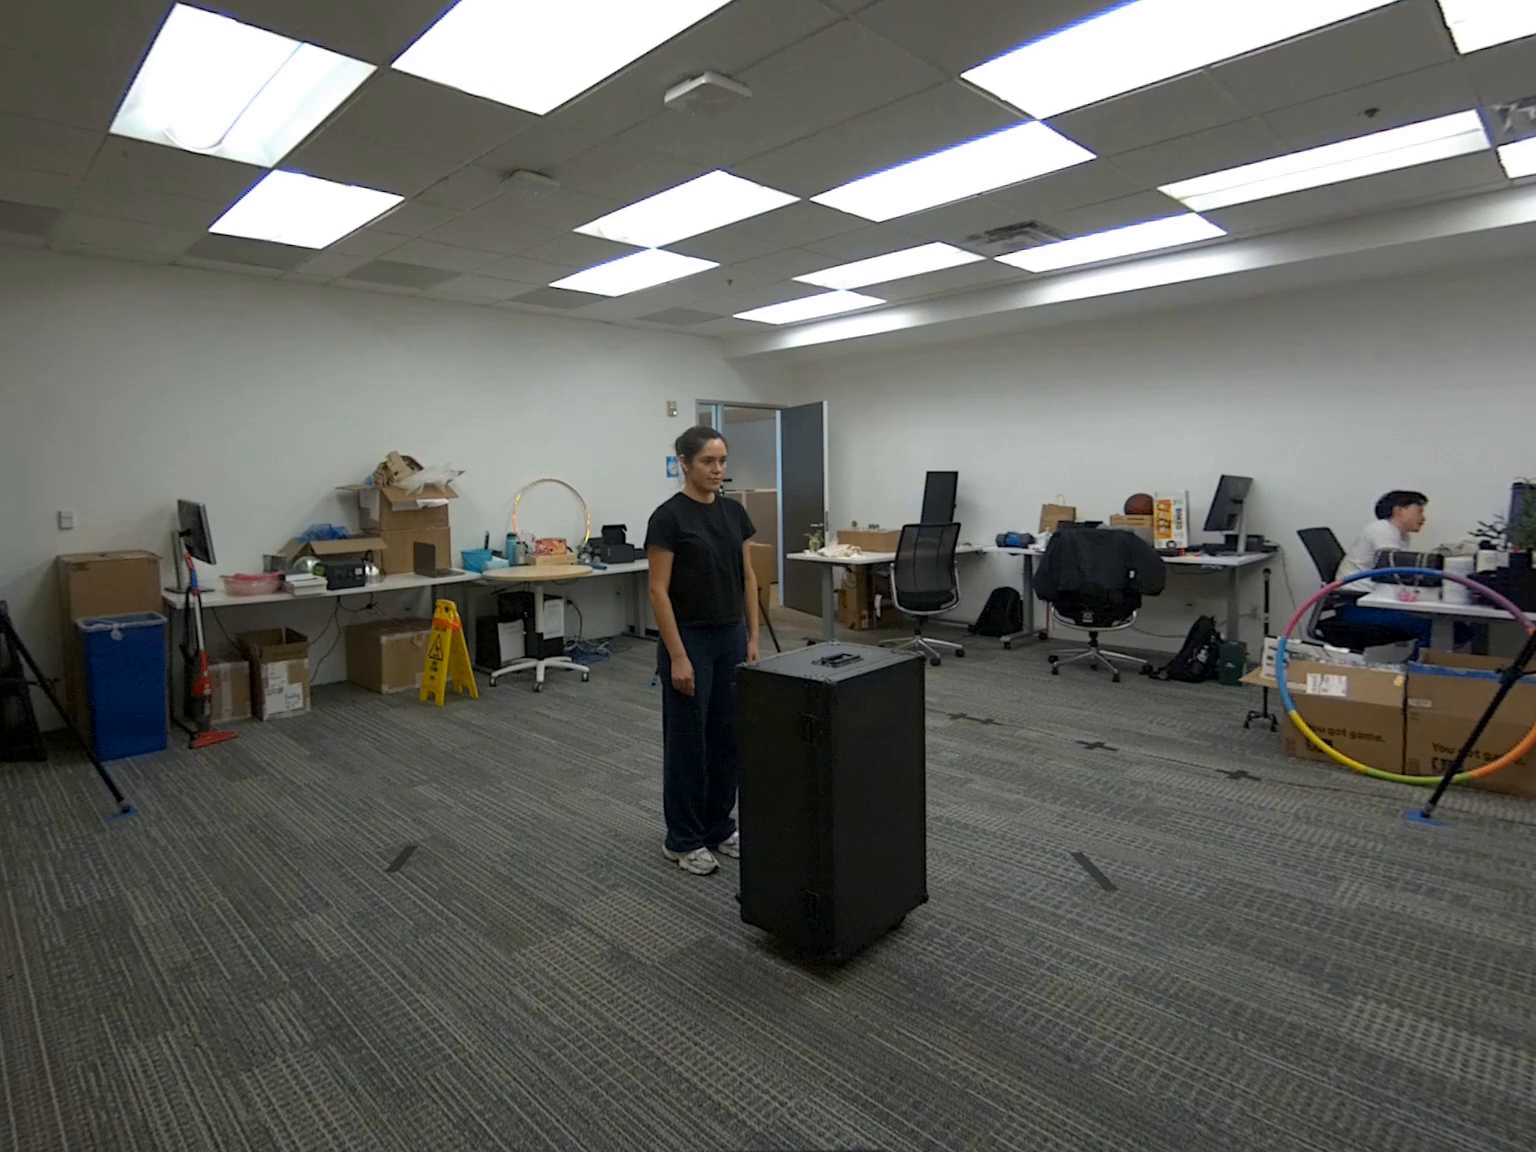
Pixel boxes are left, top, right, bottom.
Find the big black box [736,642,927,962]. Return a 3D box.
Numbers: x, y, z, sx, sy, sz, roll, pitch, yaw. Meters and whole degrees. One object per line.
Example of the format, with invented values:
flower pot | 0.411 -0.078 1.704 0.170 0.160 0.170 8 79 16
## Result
big black box | 0.192 0.669 2.612 0.408 0.859 0.507 2 5 43
